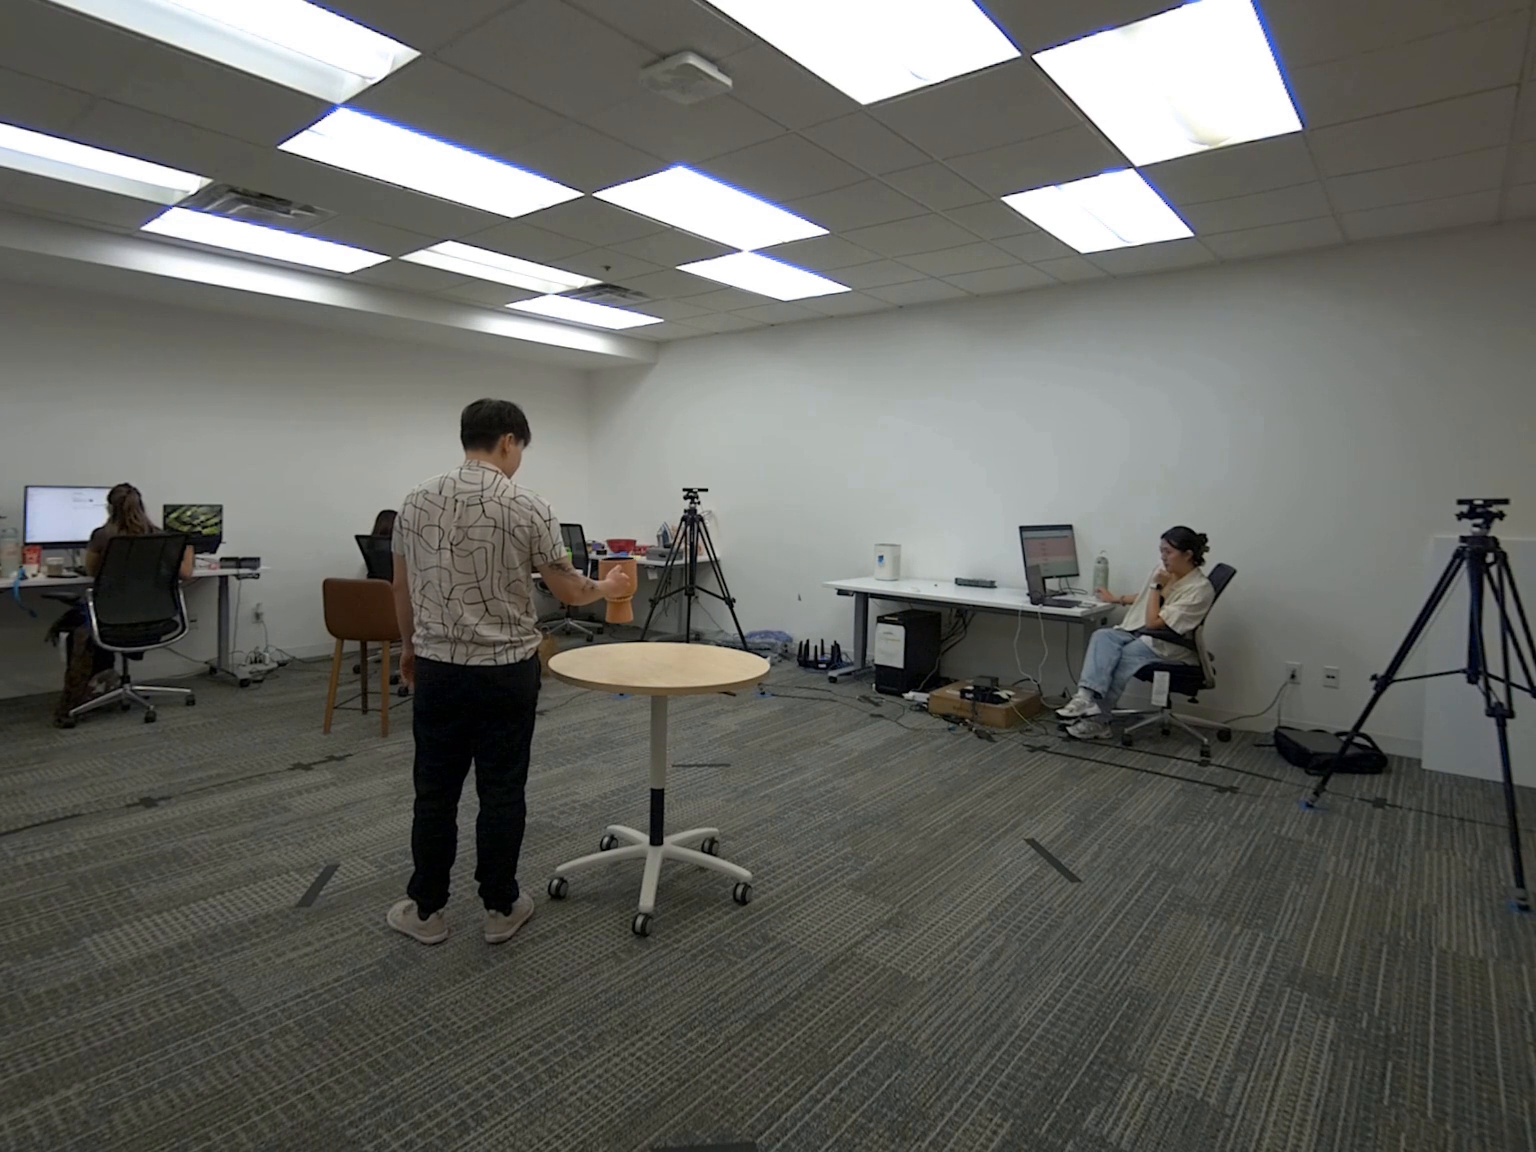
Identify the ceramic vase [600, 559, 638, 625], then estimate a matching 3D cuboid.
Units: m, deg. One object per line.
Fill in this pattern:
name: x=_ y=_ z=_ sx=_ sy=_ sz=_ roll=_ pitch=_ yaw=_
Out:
ceramic vase: x=-0.540 y=0.047 z=3.007 sx=0.138 sy=0.218 sz=0.155 roll=4 pitch=7 yaw=29
